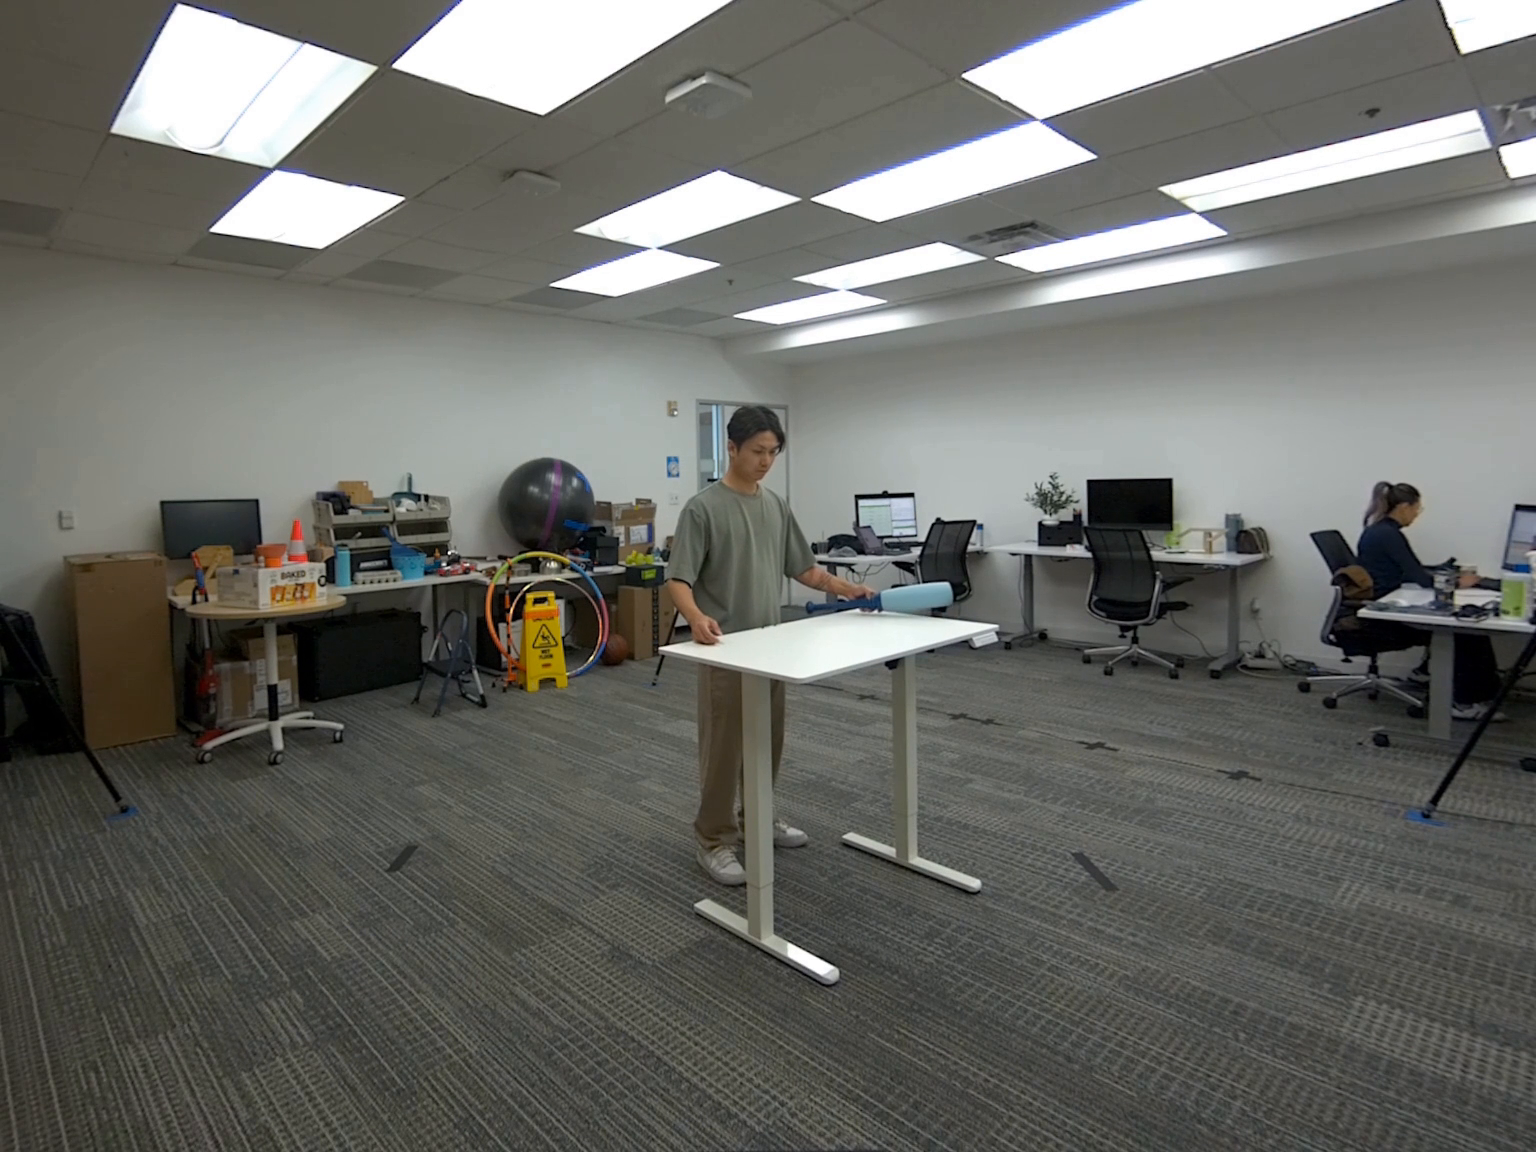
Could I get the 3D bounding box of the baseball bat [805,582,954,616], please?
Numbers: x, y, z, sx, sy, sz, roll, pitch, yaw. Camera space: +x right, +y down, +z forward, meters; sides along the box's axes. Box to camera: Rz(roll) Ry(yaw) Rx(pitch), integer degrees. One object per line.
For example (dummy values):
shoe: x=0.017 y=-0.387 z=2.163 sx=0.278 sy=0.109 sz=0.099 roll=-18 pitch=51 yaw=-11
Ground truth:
baseball bat: x=0.399 y=0.098 z=3.139 sx=0.551 sy=0.089 sz=0.088 roll=-7 pitch=3 yaw=17
